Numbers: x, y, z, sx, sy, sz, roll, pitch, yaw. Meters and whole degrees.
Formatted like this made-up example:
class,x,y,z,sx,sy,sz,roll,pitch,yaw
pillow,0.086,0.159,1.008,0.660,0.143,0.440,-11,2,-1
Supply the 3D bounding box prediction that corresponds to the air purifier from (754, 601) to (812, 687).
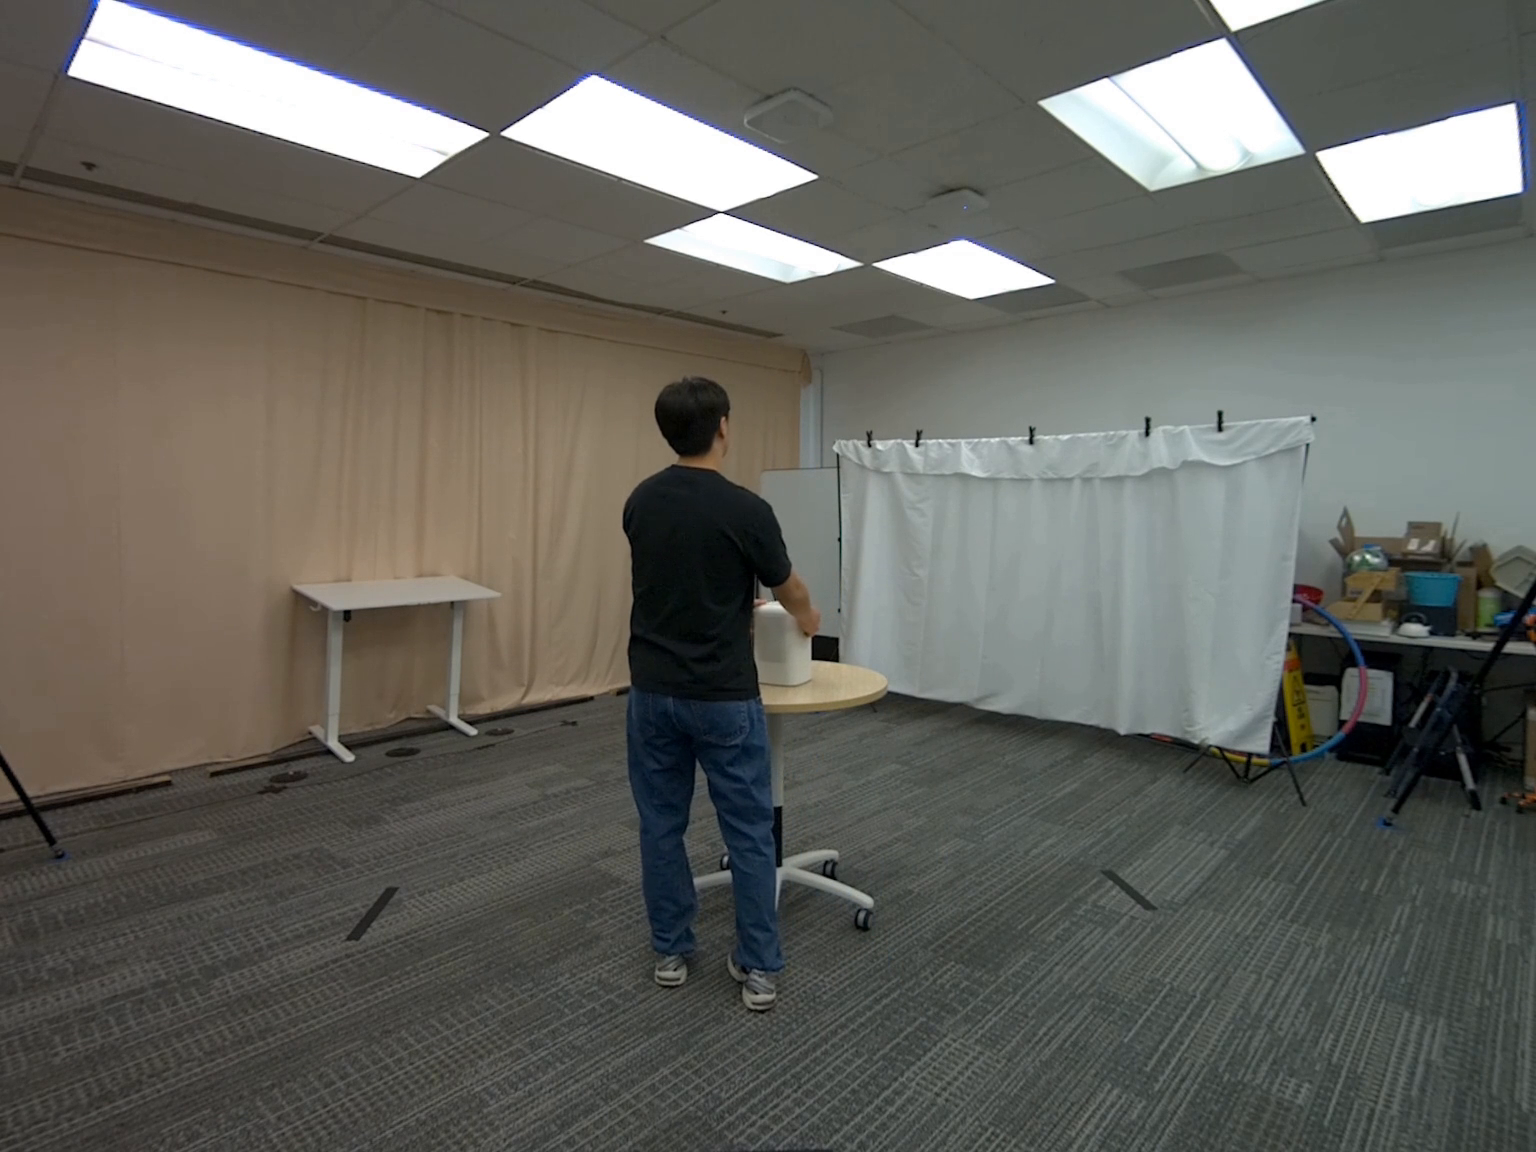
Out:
class,x,y,z,sx,sy,sz,roll,pitch,yaw
air purifier,0.057,0.225,2.859,0.177,0.265,0.166,2,3,32
